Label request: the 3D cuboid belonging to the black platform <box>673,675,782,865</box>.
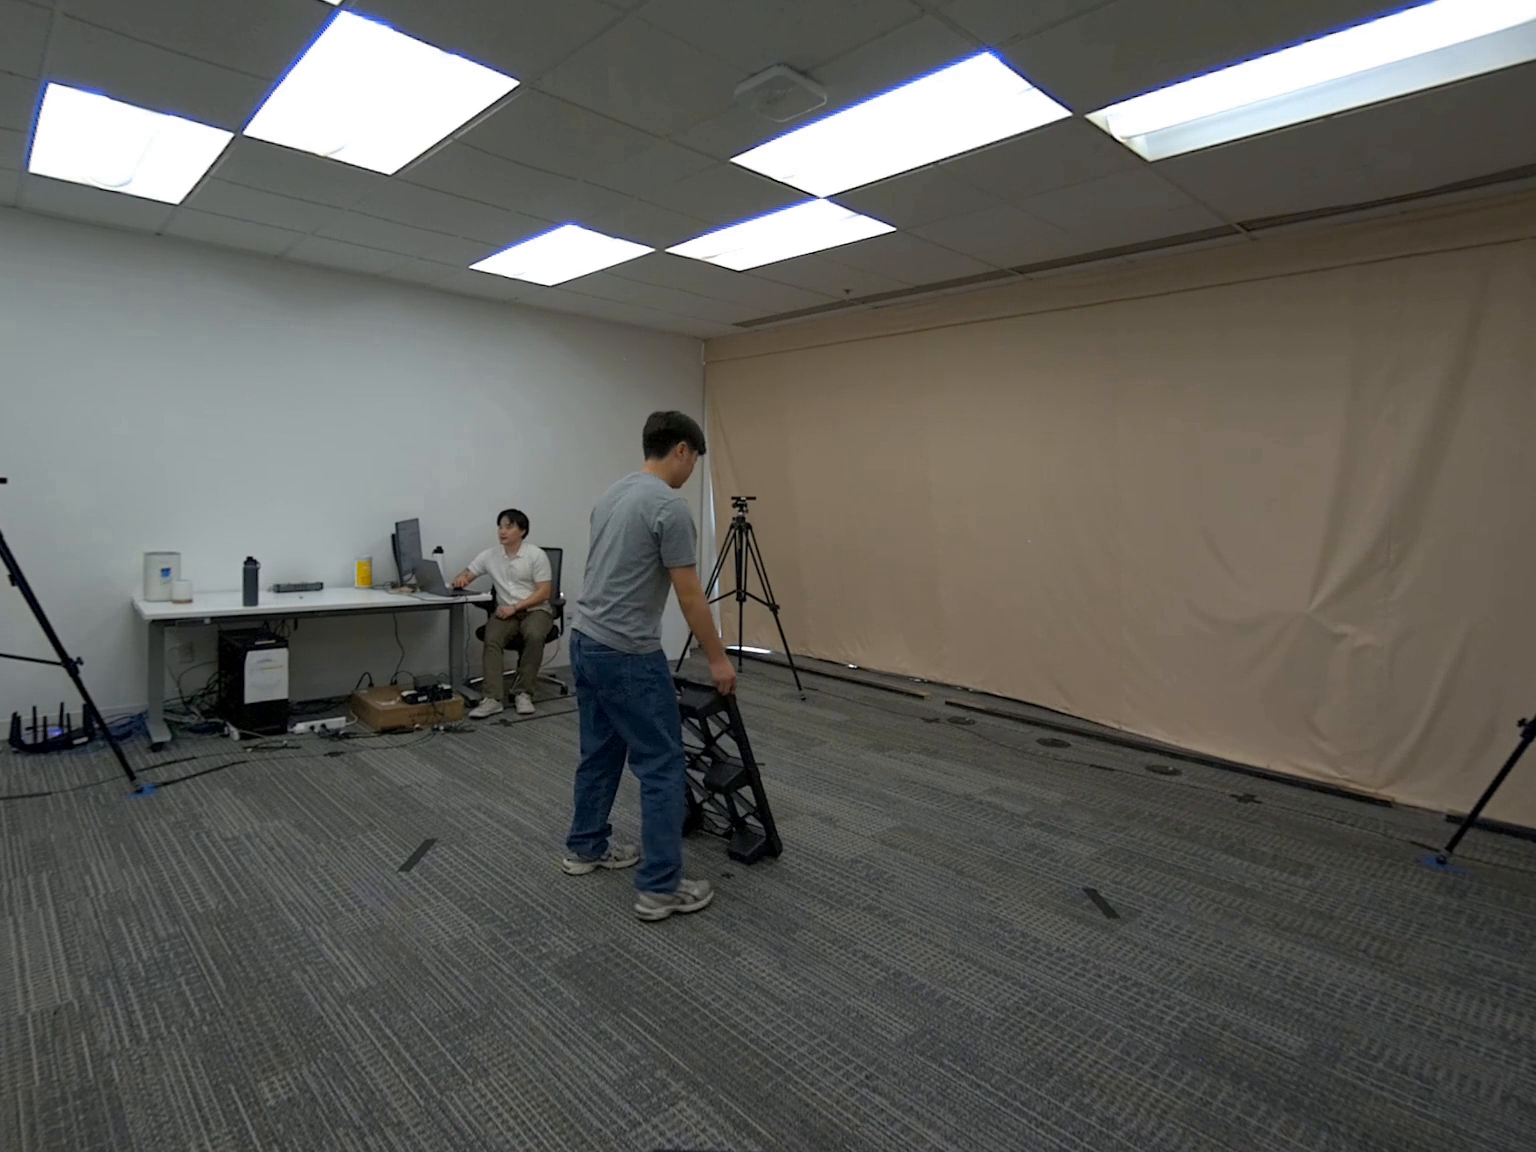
[{"bbox_3d":[-0.306,0.731,3.236,0.620,0.790,0.142,4,30,39],"label":"black platform"}]
